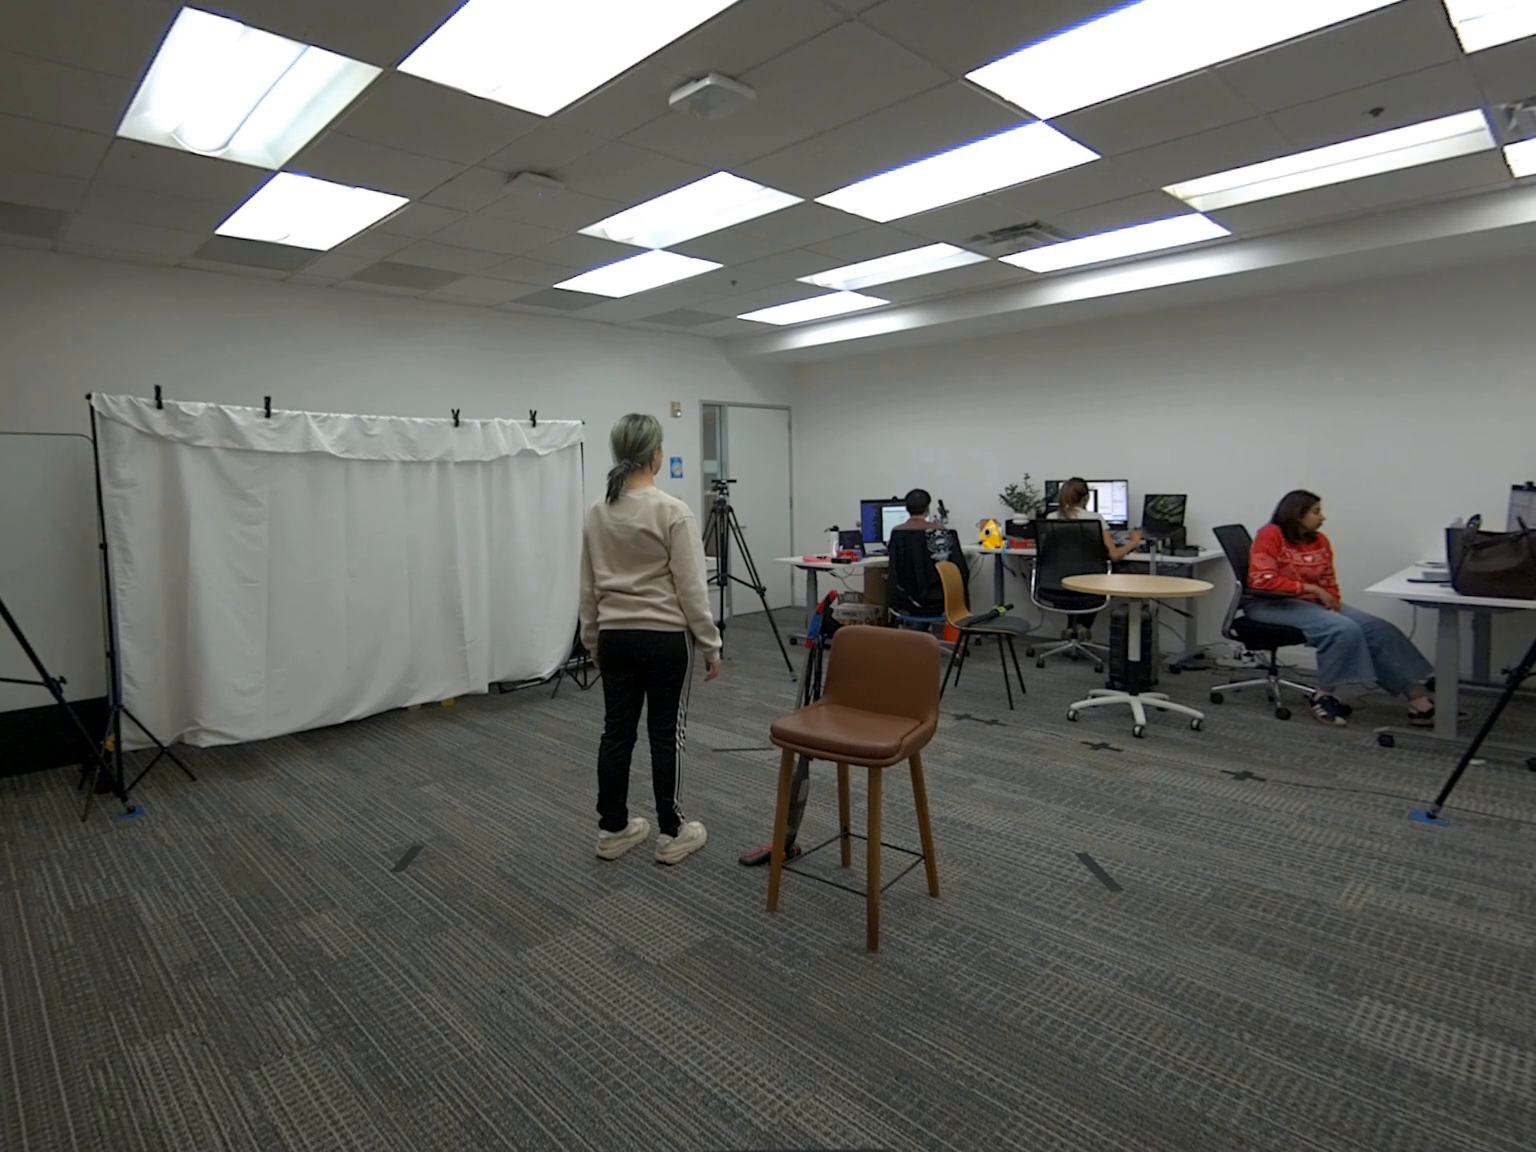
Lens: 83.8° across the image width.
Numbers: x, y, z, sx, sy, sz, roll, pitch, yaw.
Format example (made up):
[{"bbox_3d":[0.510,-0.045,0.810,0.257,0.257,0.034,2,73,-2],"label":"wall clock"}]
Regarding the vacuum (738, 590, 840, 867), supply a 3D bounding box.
[{"bbox_3d":[0.118,0.548,3.019,0.246,1.038,0.149,-2,19,-39],"label":"vacuum"}]
